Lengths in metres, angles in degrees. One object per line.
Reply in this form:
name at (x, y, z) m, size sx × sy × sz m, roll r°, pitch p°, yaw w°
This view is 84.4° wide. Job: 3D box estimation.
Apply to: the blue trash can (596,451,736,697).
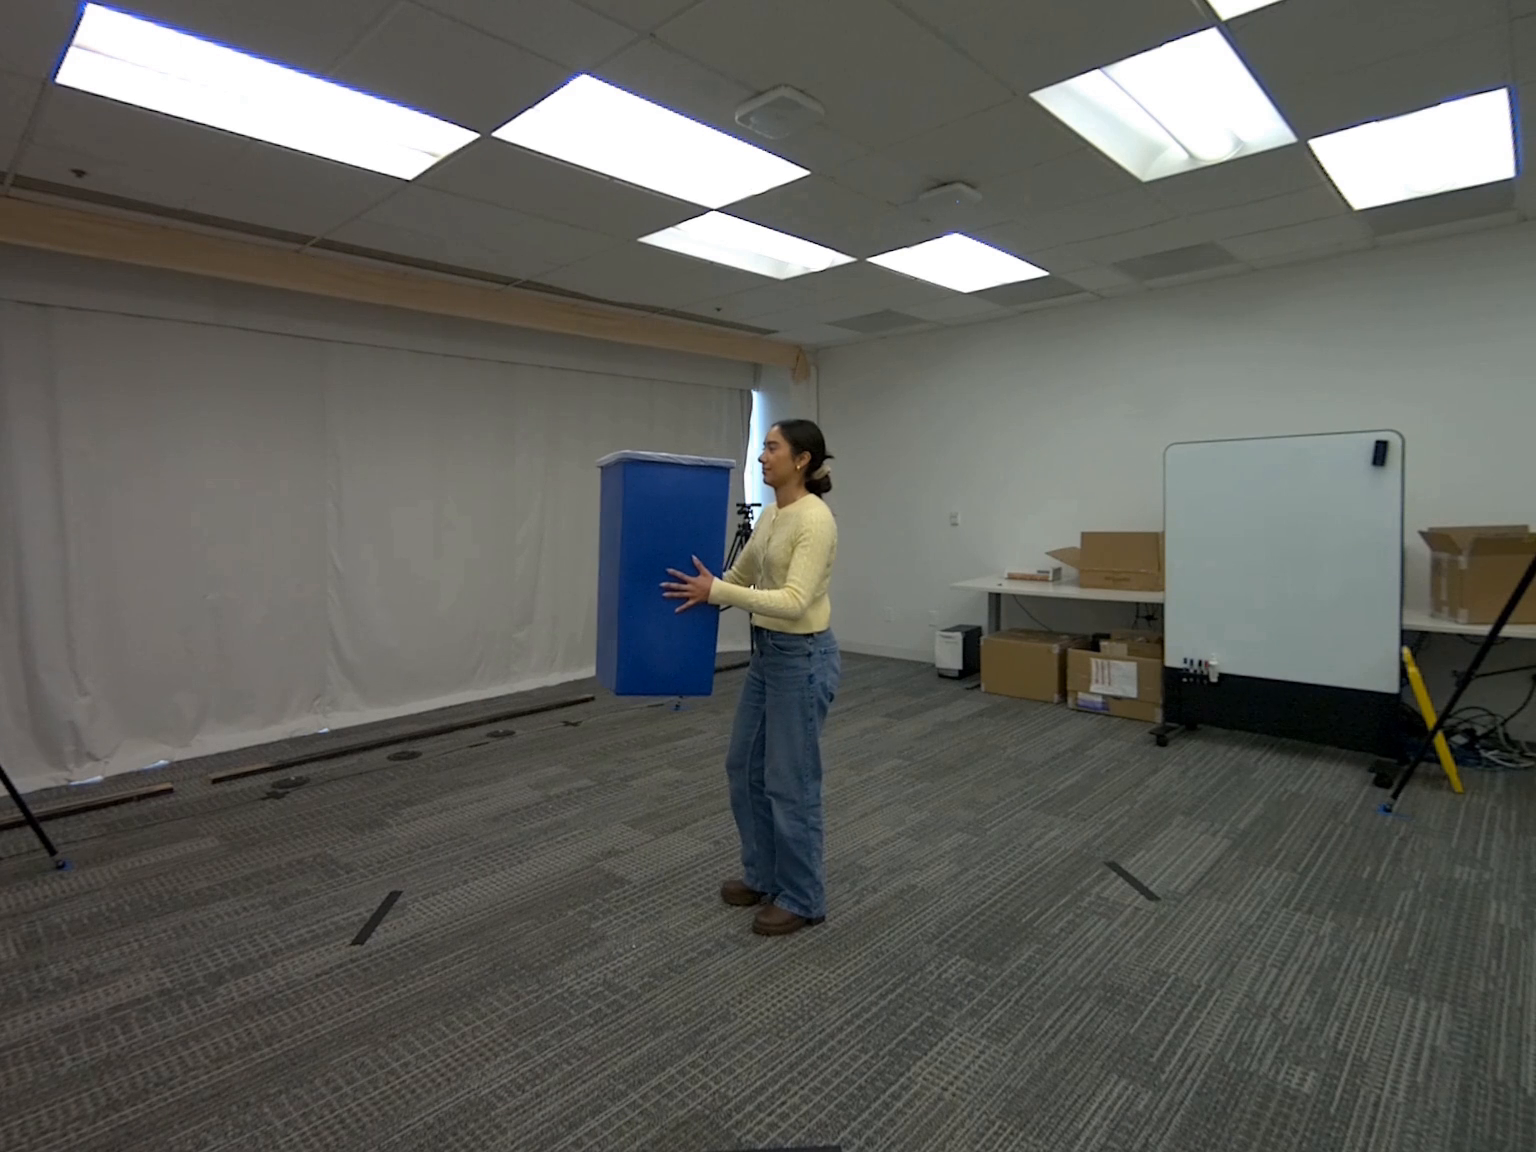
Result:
blue trash can at (-0.345, -0.011, 2.632) m, size 0.366 × 0.714 × 0.386 m, roll 4°, pitch -1°, yaw -21°
